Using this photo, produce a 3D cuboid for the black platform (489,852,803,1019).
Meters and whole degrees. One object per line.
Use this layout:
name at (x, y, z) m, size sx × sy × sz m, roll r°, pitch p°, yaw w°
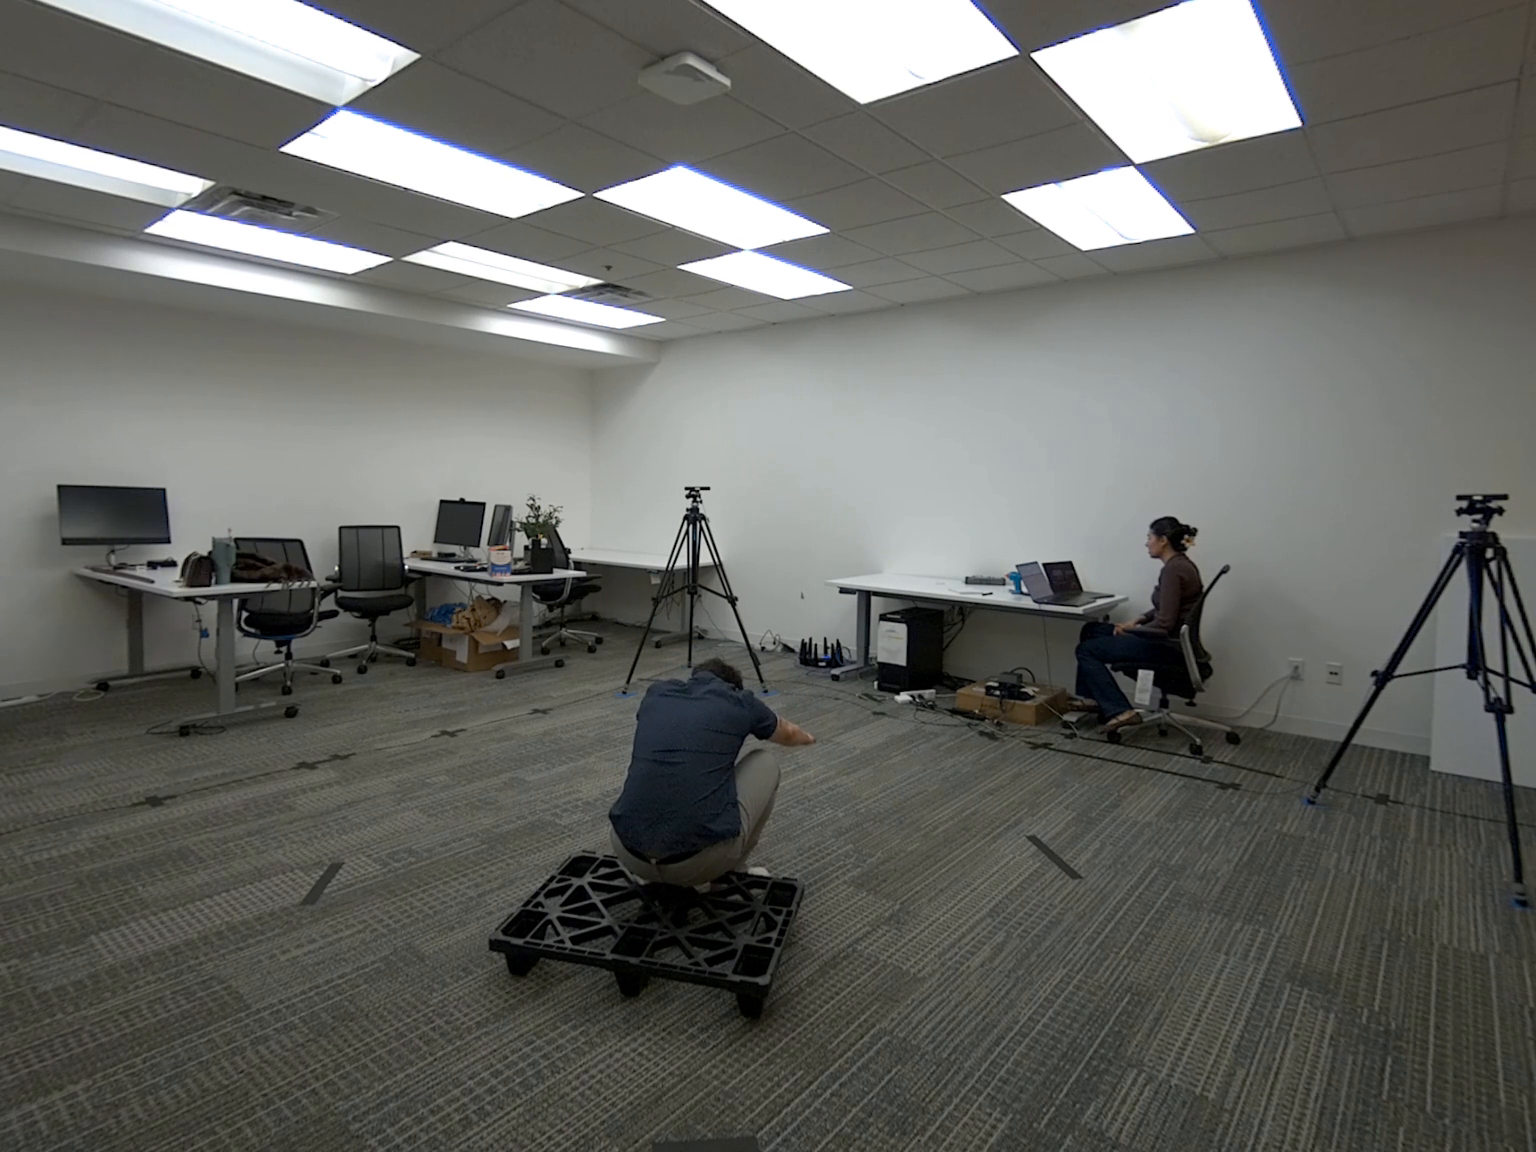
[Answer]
black platform at (-0.345, 1.054, 2.546) m, size 0.818 × 0.143 × 0.598 m, roll 2°, pitch 5°, yaw 14°
